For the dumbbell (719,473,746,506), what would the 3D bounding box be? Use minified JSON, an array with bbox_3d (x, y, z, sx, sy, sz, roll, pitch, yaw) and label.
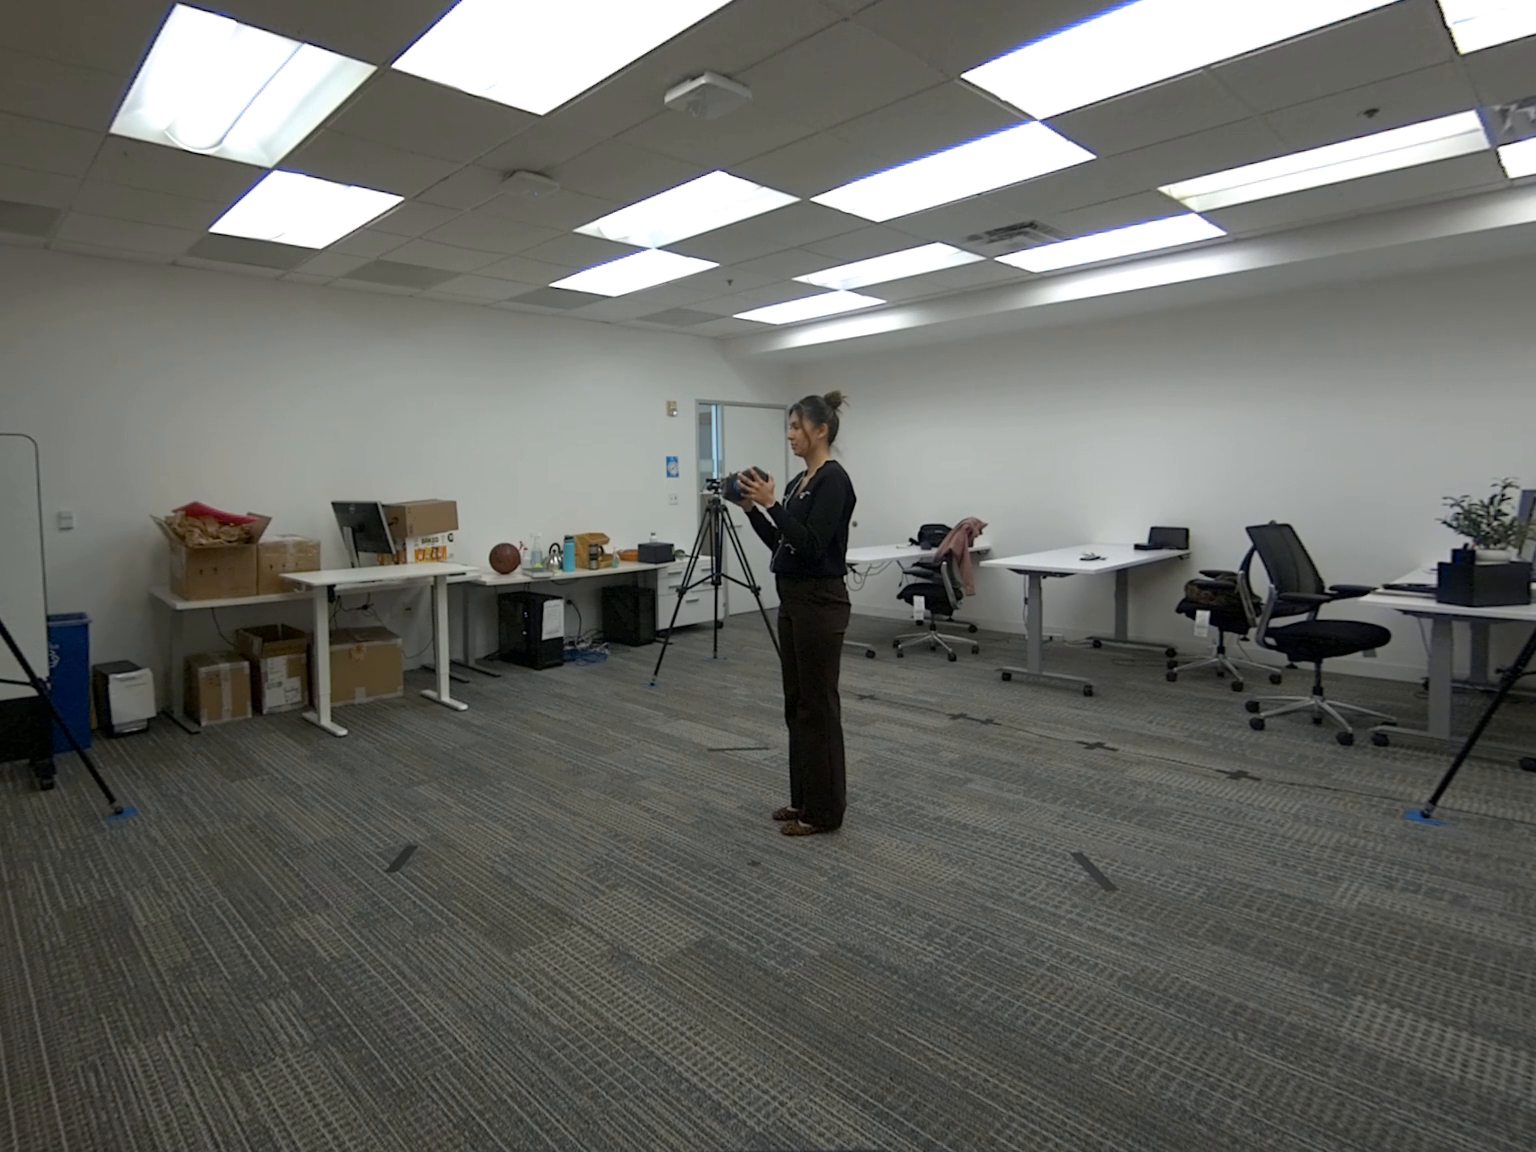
[{"bbox_3d":[-0.073,-0.353,3.349,0.121,0.109,0.298,30,-8,-15],"label":"dumbbell"}]
